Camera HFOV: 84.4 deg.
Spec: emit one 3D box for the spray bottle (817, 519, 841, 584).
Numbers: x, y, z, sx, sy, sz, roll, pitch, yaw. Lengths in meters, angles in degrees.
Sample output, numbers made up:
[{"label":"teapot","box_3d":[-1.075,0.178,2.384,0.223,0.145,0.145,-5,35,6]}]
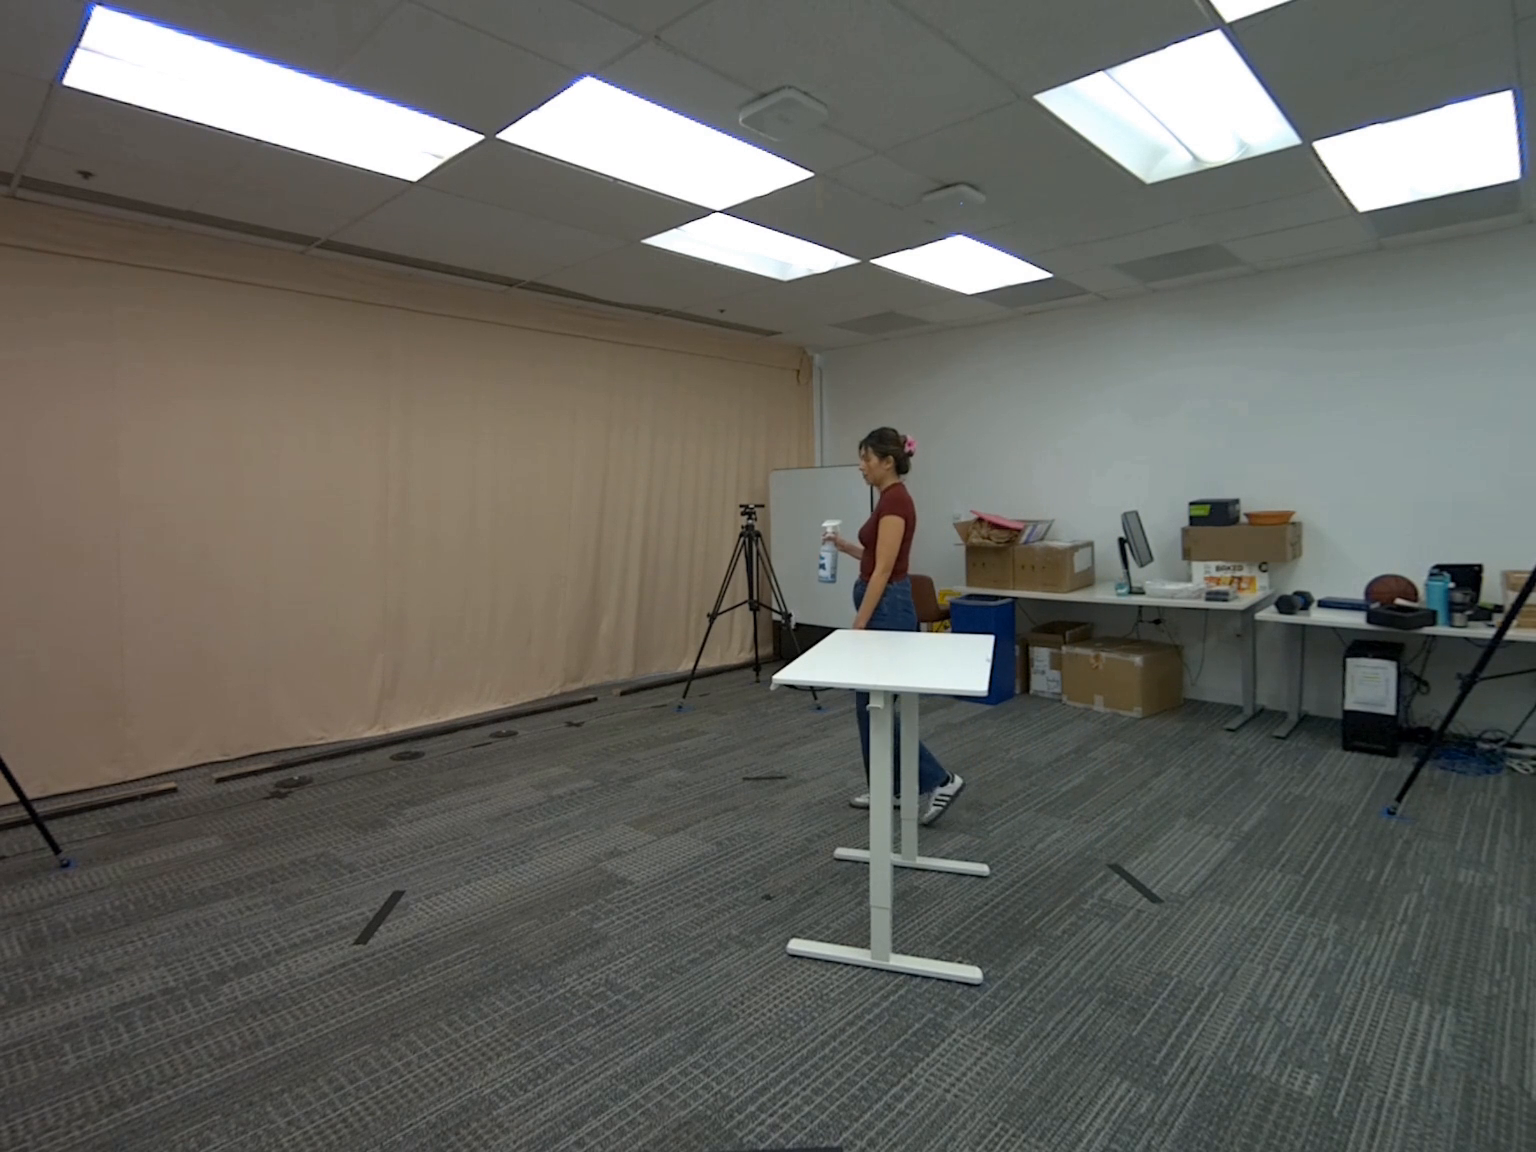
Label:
[{"label":"spray bottle","box_3d":[0.299,-0.112,3.986,0.092,0.296,0.085,8,8,26]}]
